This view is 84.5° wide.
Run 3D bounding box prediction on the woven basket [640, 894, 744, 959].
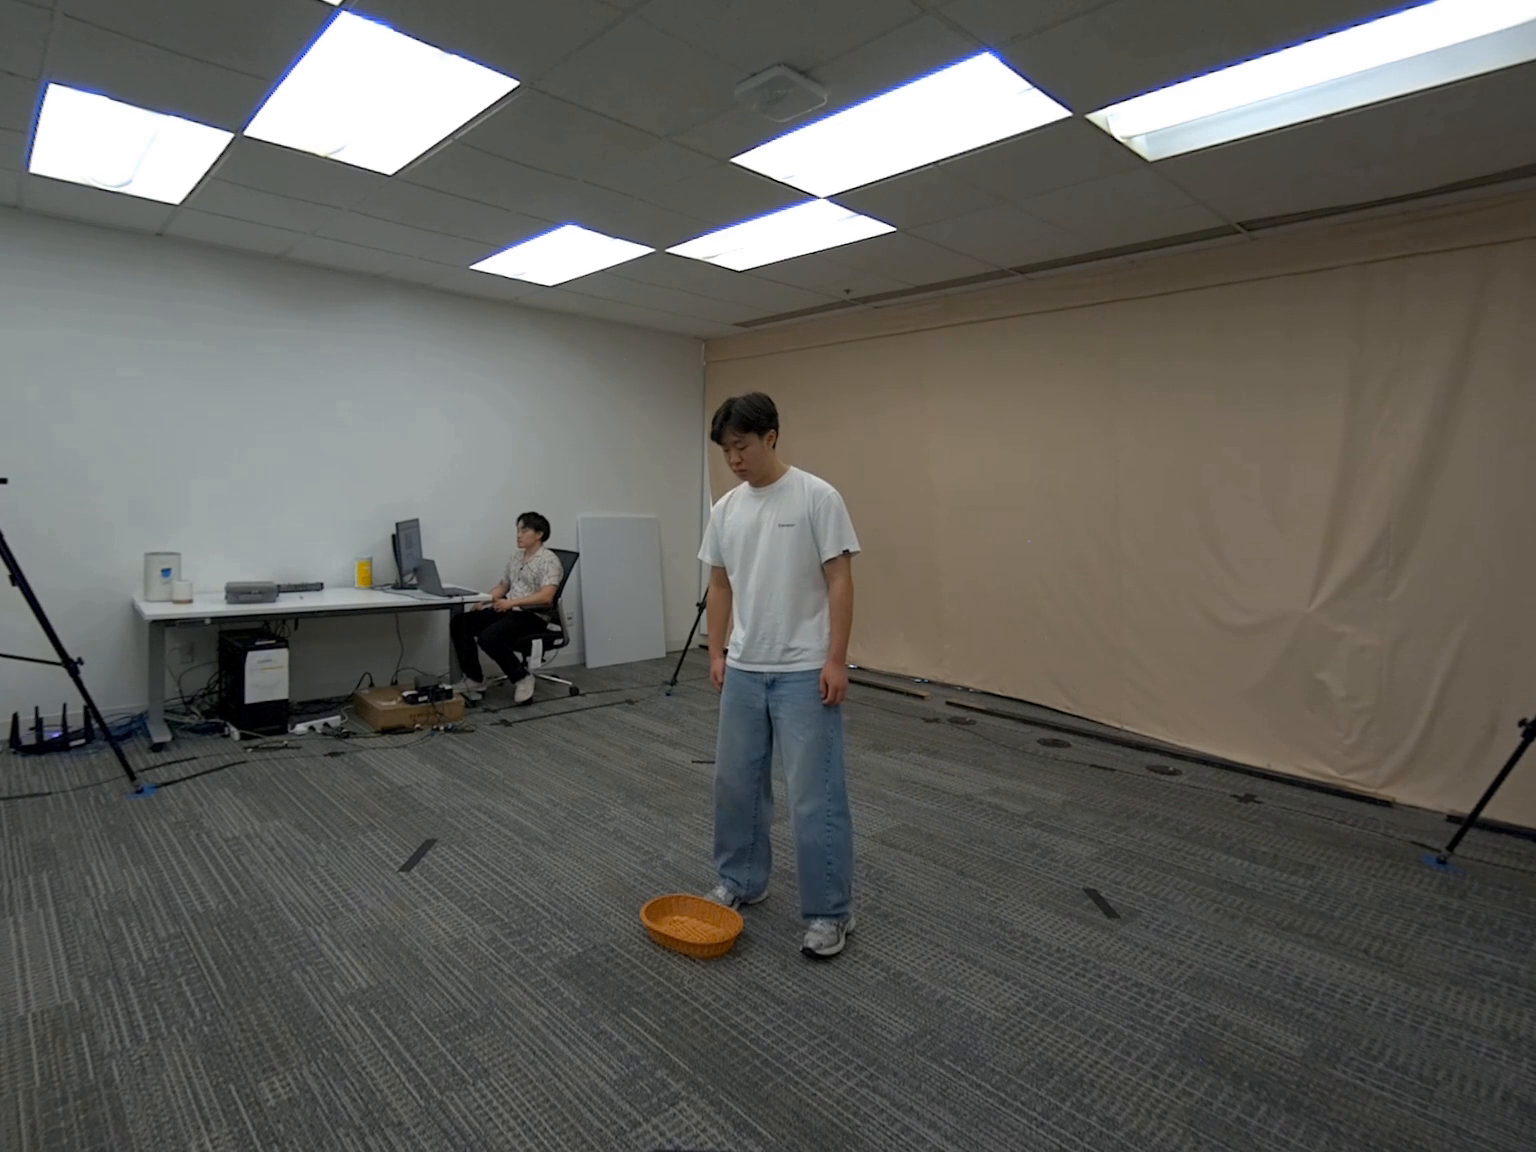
[{"bbox_3d":[-0.243,1.102,2.654,0.357,0.073,0.248,3,5,27],"label":"woven basket"}]
